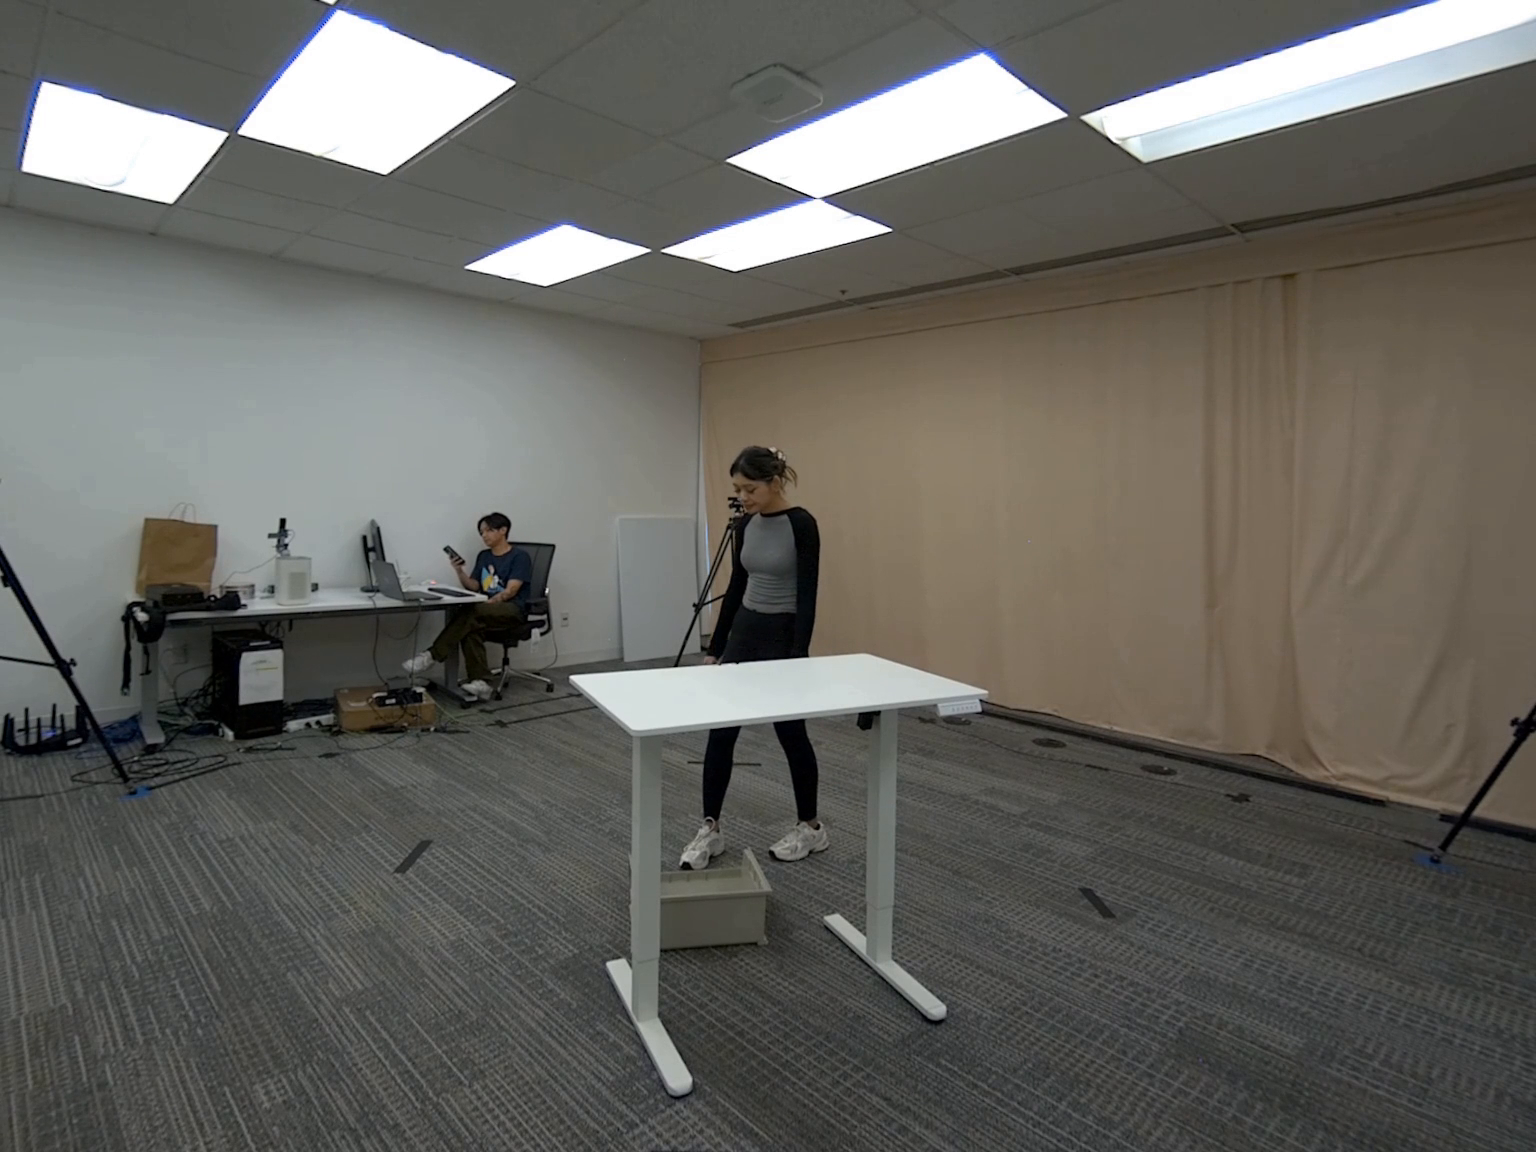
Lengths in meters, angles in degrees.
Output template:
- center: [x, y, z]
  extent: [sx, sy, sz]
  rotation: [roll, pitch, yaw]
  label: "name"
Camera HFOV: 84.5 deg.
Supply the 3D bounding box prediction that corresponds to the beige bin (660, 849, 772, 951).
- center: [-0.242, 1.046, 2.758]
  extent: [0.418, 0.188, 0.382]
  rotation: [1, 6, -13]
  label: "beige bin"
